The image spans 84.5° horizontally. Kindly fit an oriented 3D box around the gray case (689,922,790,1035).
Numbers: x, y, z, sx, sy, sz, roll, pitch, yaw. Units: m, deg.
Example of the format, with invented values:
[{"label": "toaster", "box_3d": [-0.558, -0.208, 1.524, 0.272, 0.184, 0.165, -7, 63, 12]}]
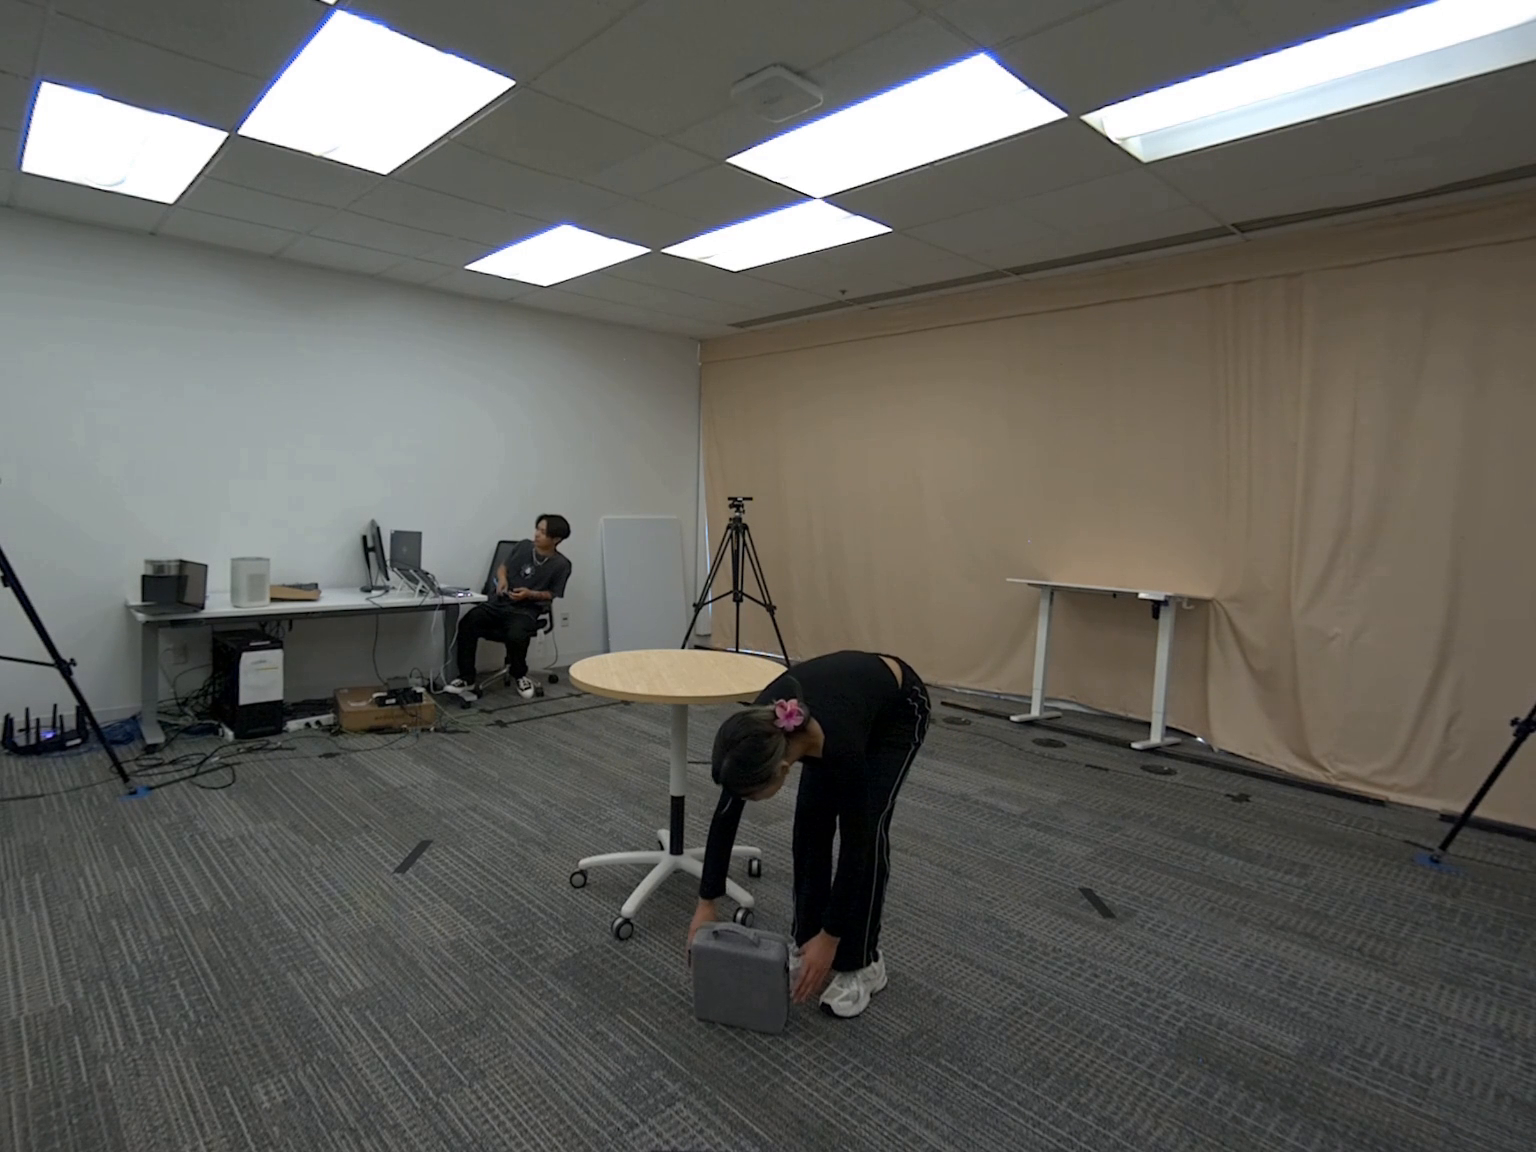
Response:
[{"label": "gray case", "box_3d": [-0.070, 1.053, 2.229, 0.260, 0.259, 0.103, 6, 11, 16]}]
